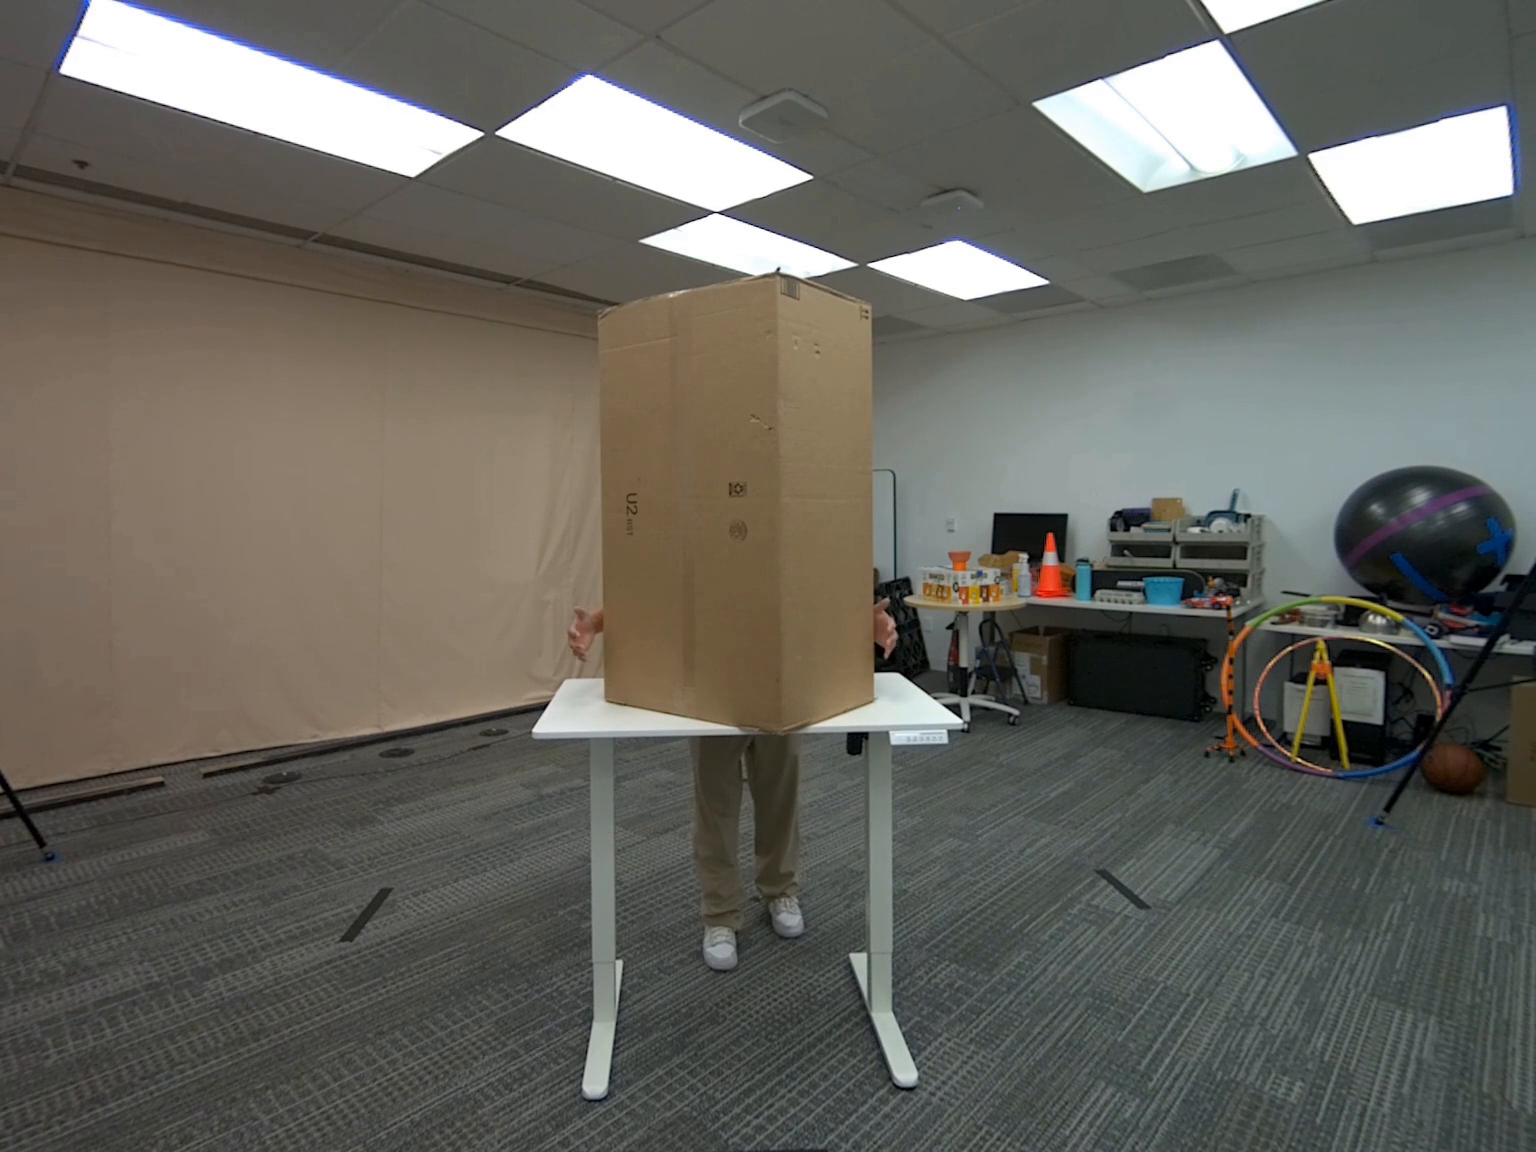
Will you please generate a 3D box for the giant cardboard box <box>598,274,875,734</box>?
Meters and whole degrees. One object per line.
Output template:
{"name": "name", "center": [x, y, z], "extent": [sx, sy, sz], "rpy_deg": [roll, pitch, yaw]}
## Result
{"name": "giant cardboard box", "center": [-0.078, -0.180, 2.178], "extent": [0.596, 1.024, 0.413], "rpy_deg": [1, 3, 38]}
